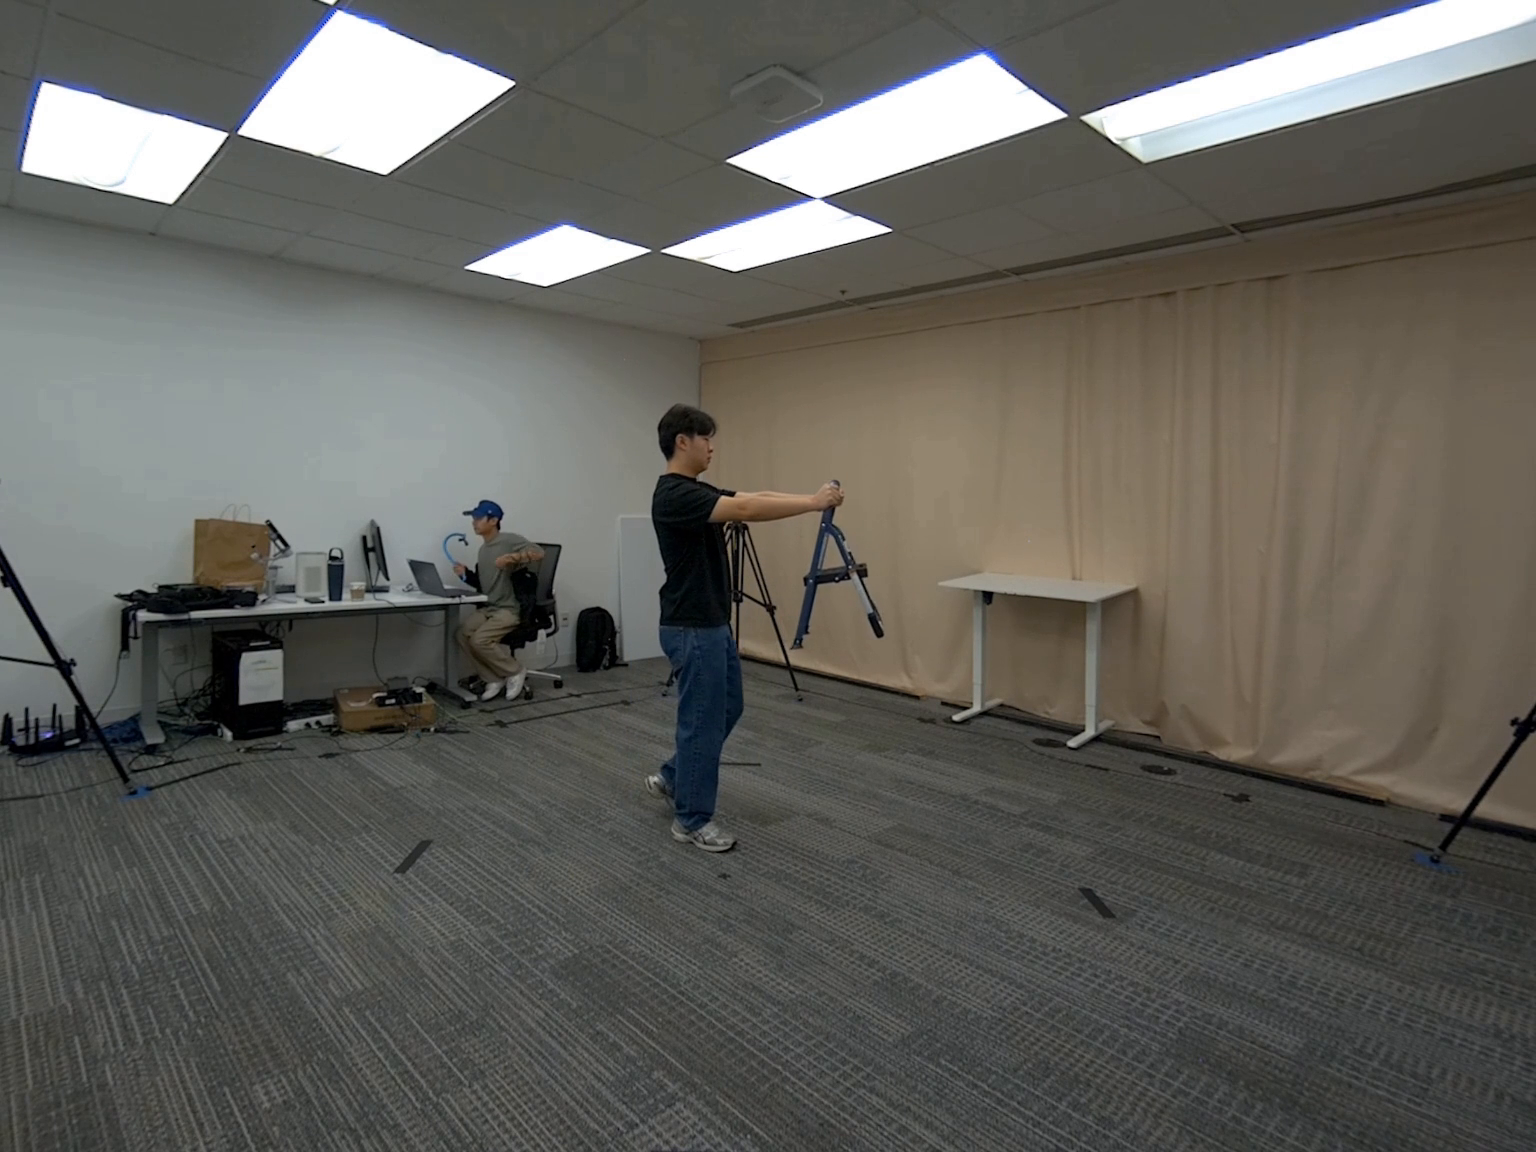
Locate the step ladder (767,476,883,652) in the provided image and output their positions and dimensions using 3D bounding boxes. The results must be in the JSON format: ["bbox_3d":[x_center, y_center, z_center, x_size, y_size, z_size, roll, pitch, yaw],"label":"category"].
[{"bbox_3d":[0.232,-0.060,3.308,0.352,0.605,0.428,-7,2,9],"label":"step ladder"}]
